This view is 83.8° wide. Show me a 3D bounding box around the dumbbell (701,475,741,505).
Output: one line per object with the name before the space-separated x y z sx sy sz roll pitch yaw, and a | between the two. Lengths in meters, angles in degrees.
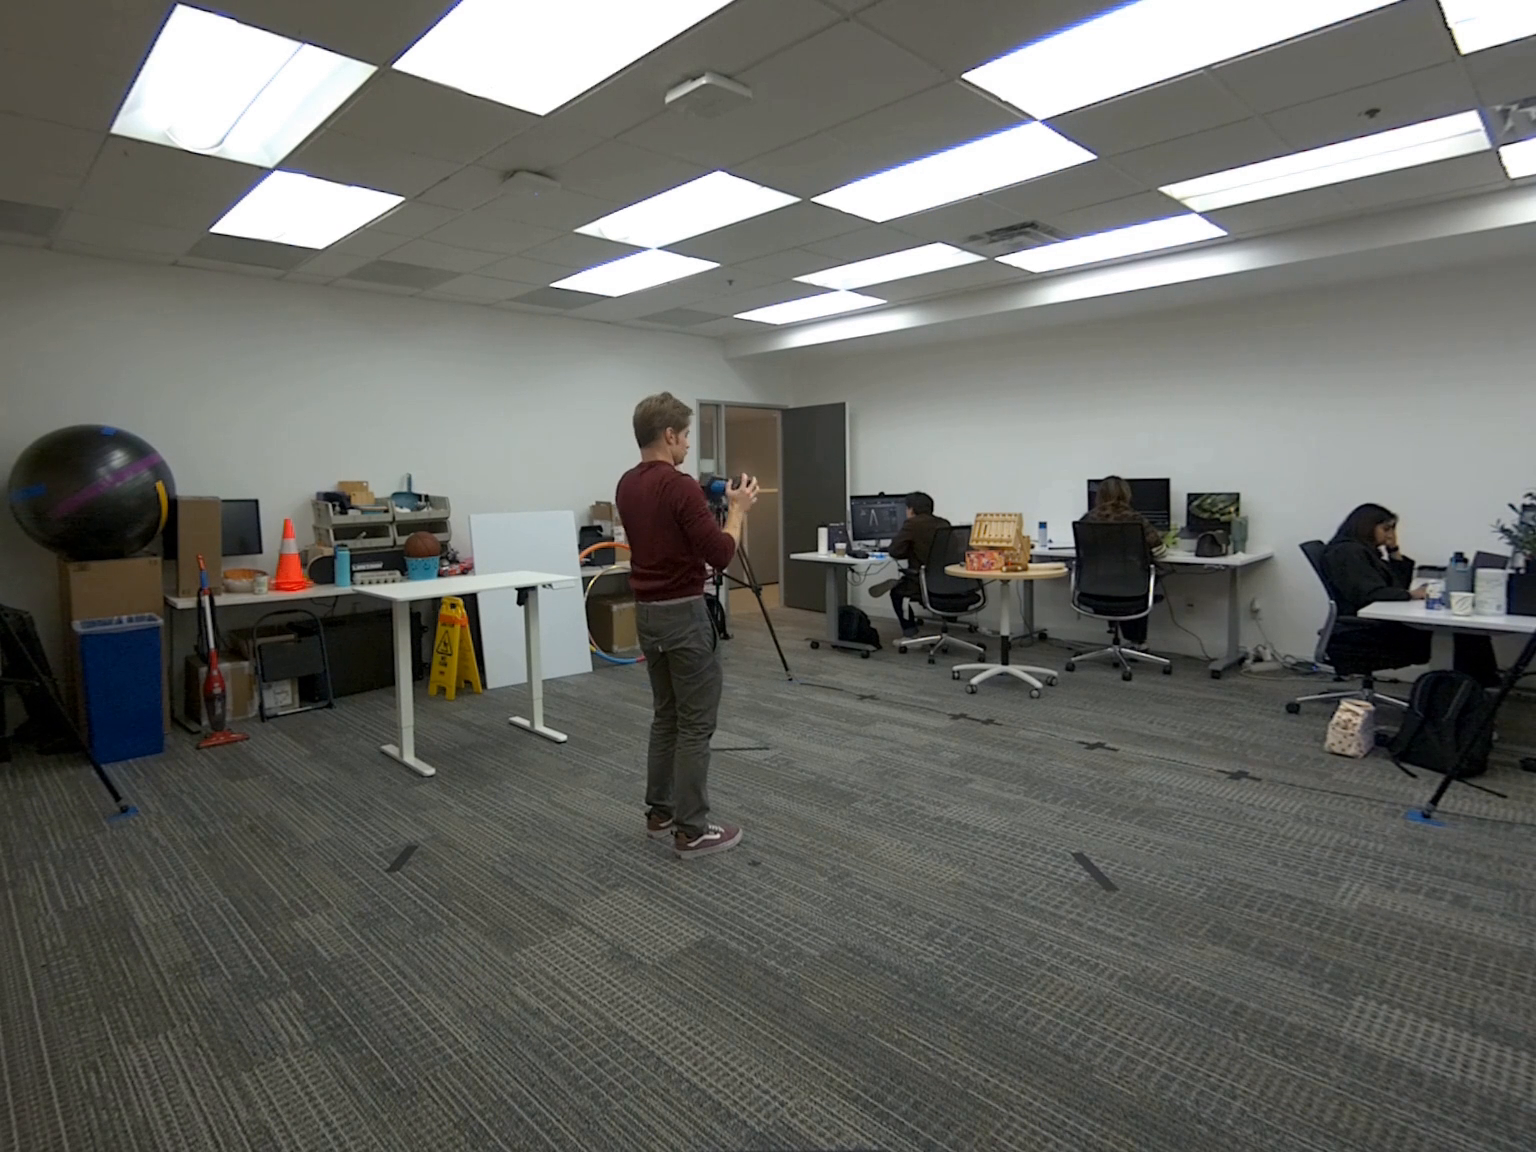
dumbbell | -0.175 -0.325 3.354 0.105 0.123 0.303 46 -20 -32
